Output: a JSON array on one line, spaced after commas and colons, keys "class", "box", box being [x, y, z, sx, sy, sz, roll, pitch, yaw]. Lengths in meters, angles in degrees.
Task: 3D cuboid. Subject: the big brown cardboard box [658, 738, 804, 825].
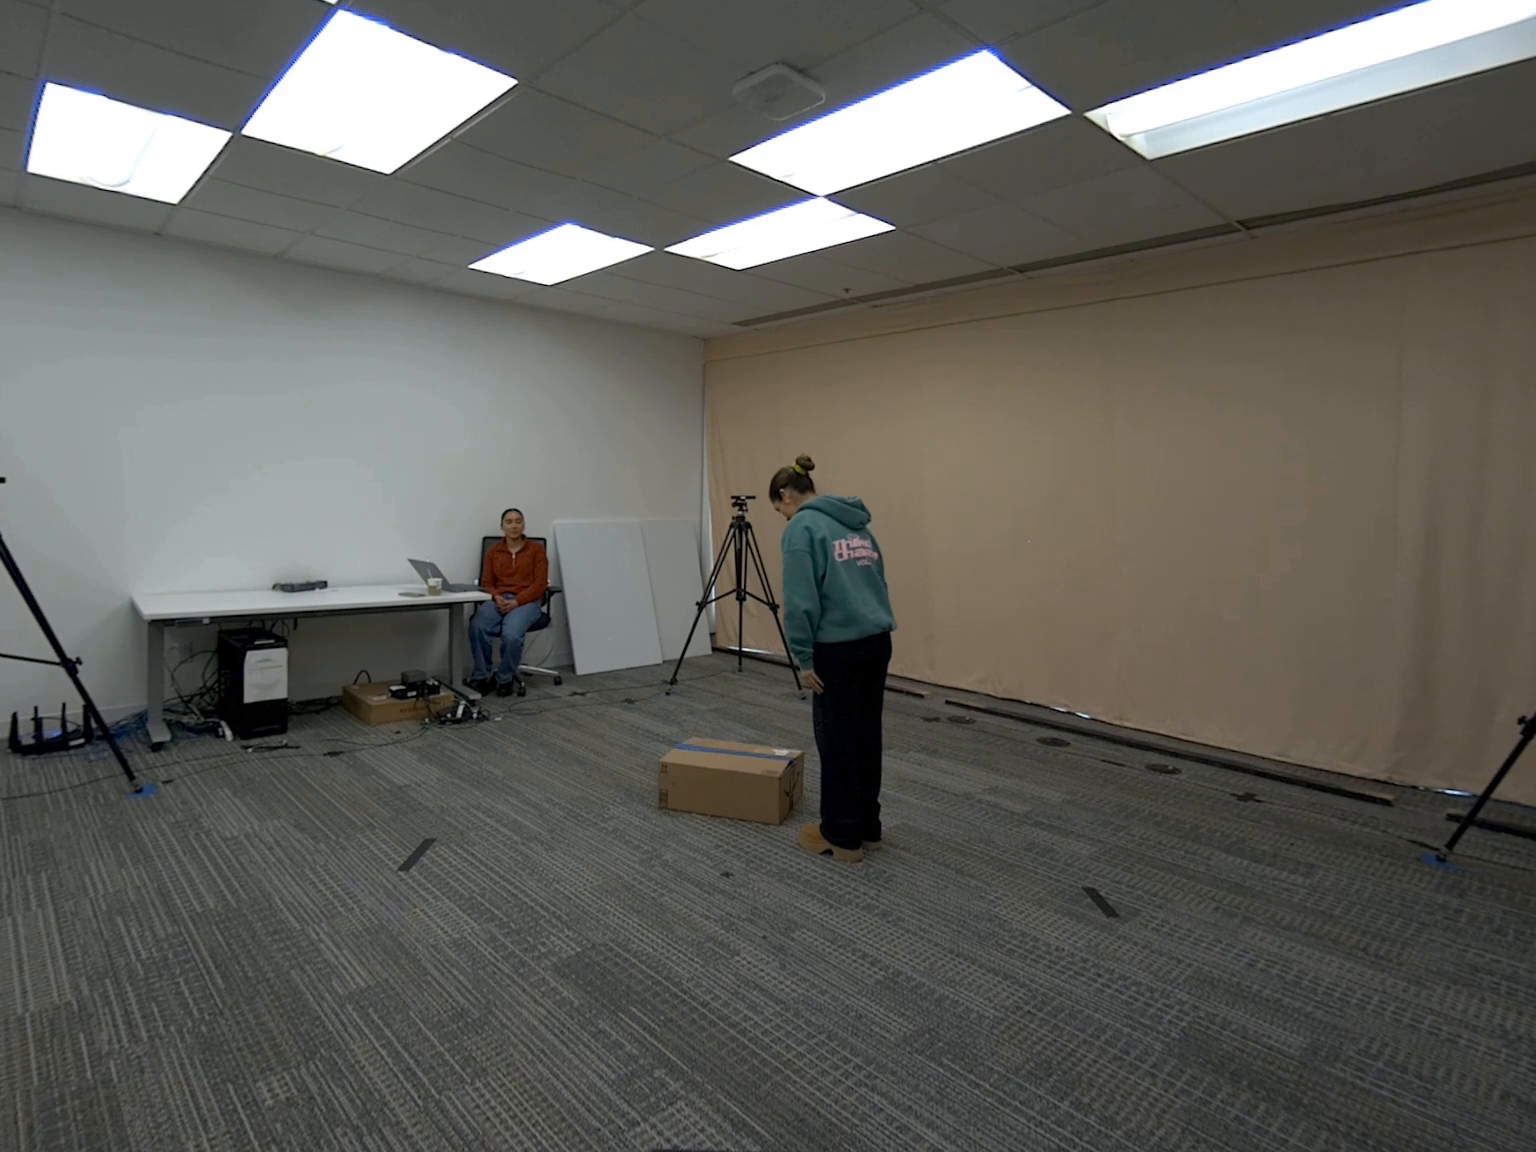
[{"class": "big brown cardboard box", "box": [-0.167, 0.920, 3.852, 0.597, 0.232, 0.413, 2, 5, 17]}]
